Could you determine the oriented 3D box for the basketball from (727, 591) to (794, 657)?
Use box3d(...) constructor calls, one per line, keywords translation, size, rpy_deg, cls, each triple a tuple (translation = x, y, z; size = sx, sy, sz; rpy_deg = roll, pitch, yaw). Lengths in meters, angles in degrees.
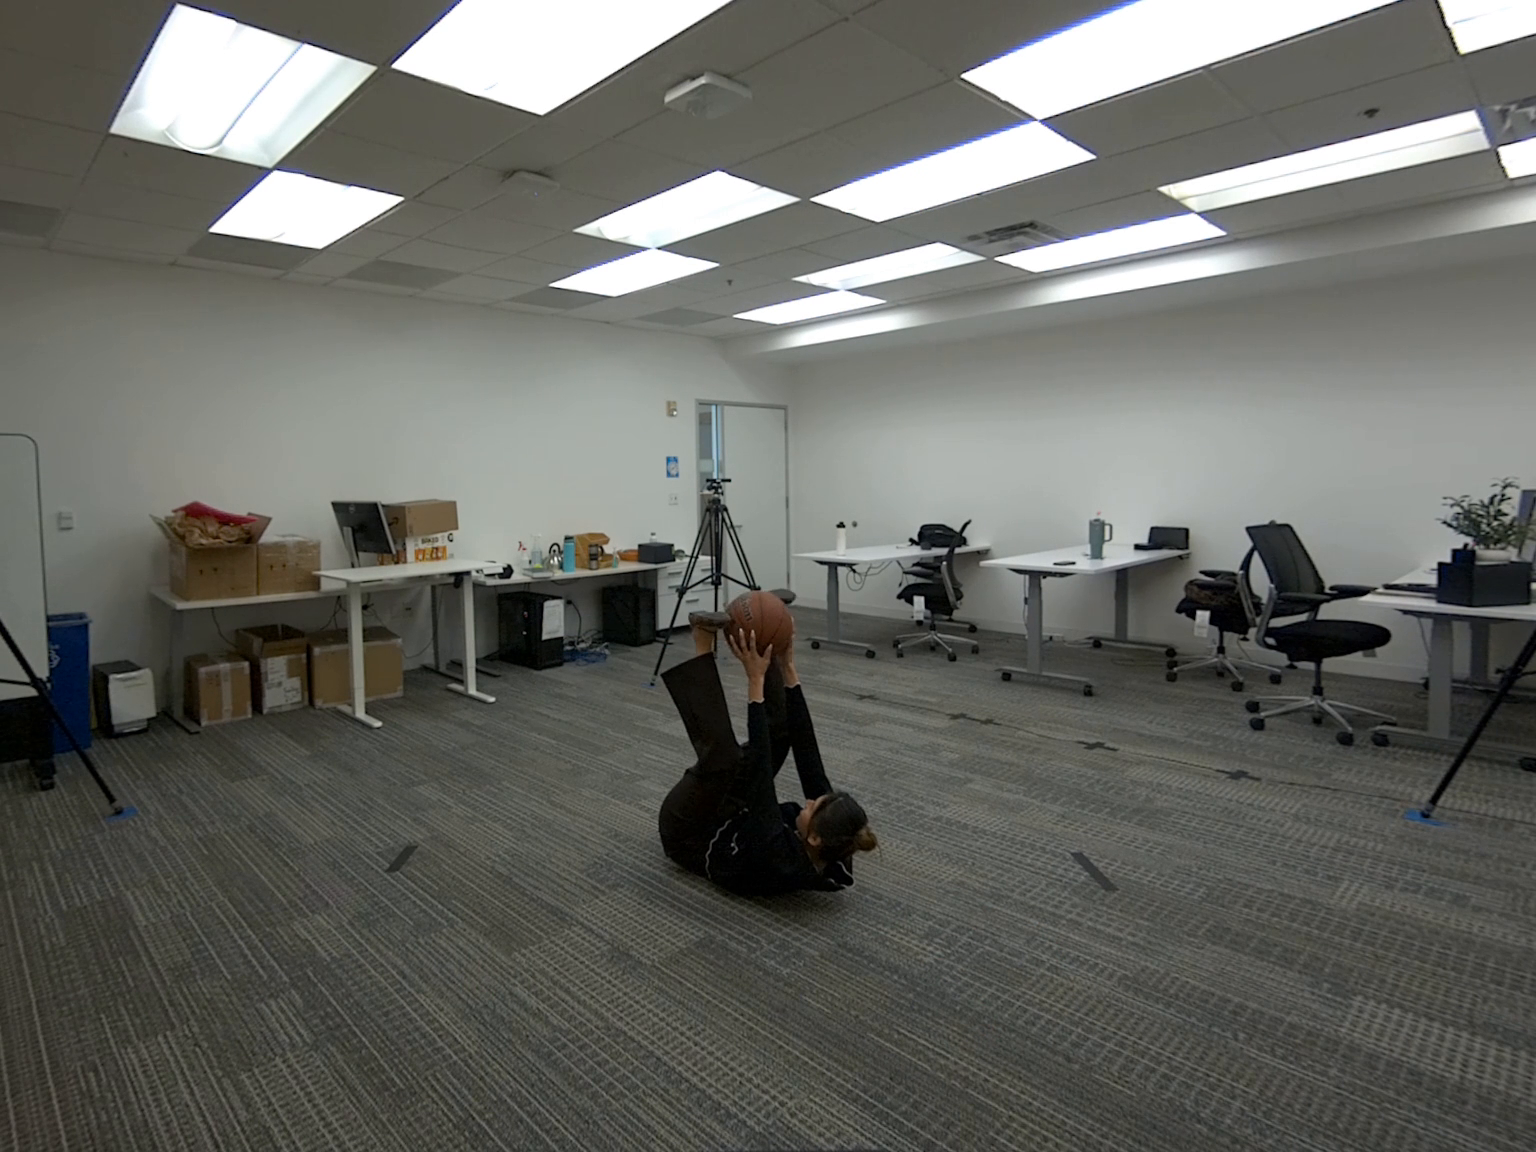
box3d(translation=(-0.028, 0.167, 2.900), size=(0.236, 0.235, 0.237), rpy_deg=(-1, 5, -2), cls="basketball")
